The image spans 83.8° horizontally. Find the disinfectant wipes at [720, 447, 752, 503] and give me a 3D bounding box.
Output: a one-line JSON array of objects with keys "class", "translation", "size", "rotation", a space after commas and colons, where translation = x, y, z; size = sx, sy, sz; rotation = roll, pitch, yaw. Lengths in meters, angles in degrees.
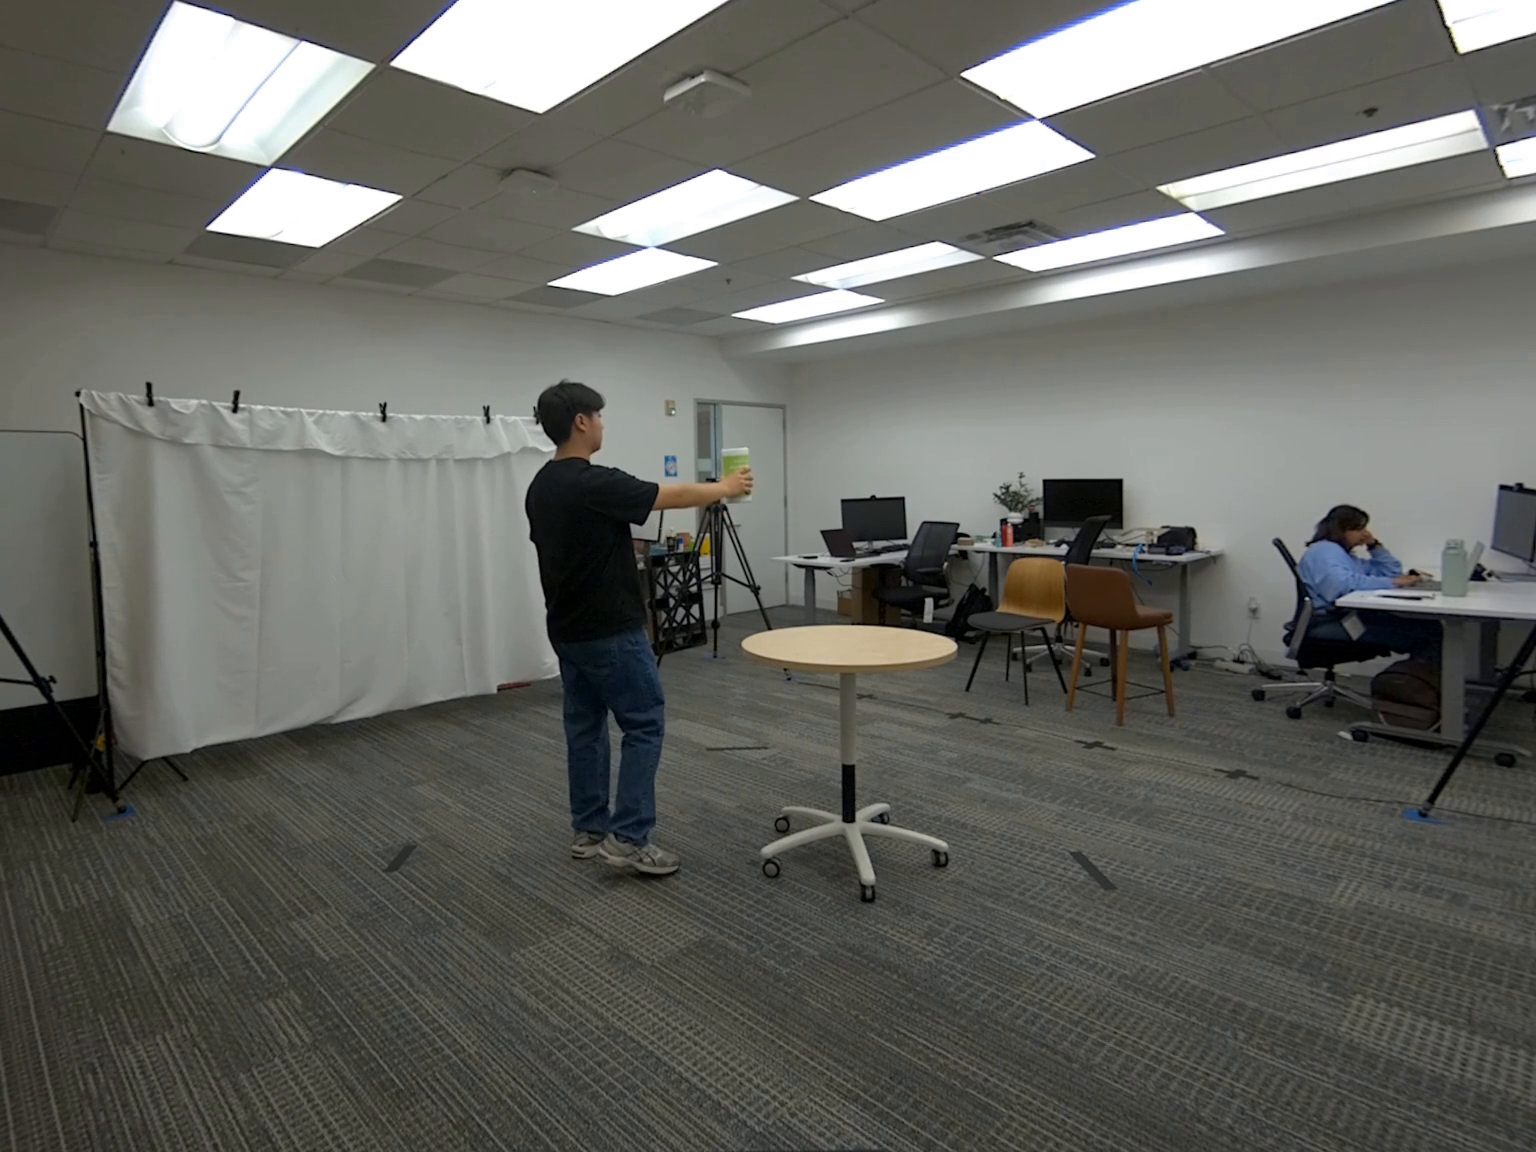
[{"class": "disinfectant wipes", "translation": [-0.118, -0.400, 3.399], "size": [0.118, 0.216, 0.118], "rotation": [-2, 6, -1]}]
